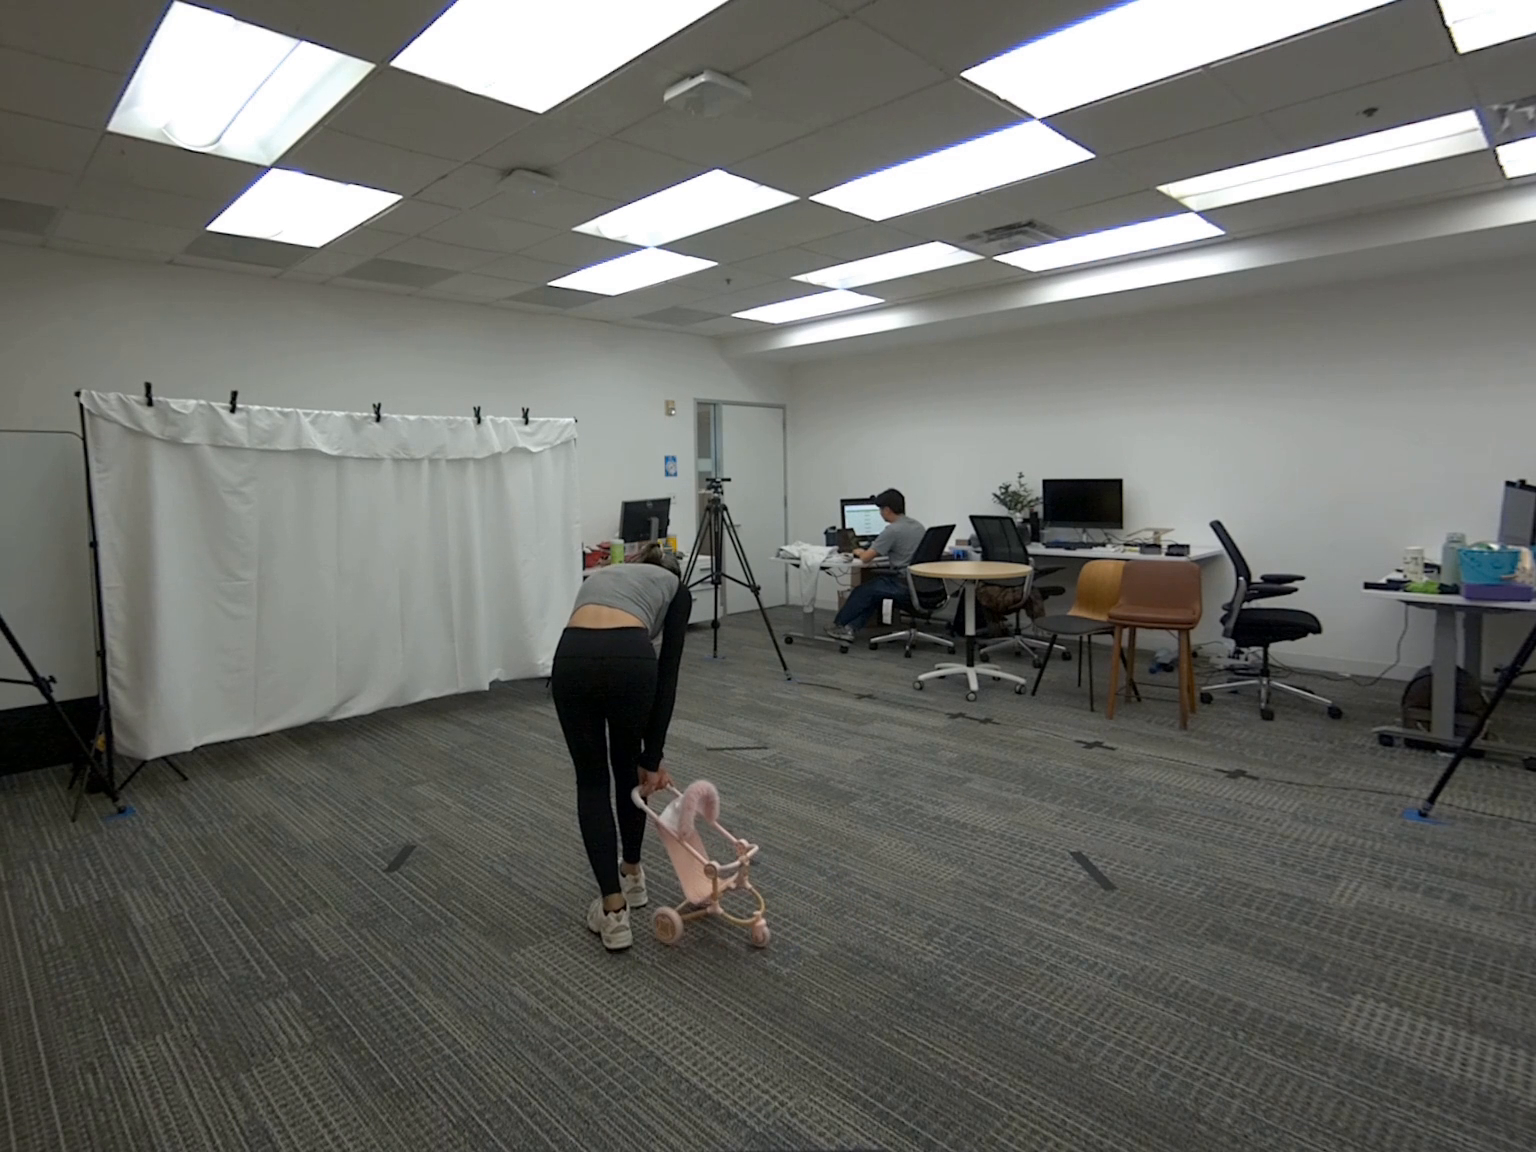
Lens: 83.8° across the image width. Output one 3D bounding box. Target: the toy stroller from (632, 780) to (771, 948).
[{"bbox_3d":[-0.191,0.873,2.635,0.347,0.539,0.274,-18,-8,32],"label":"toy stroller"}]
